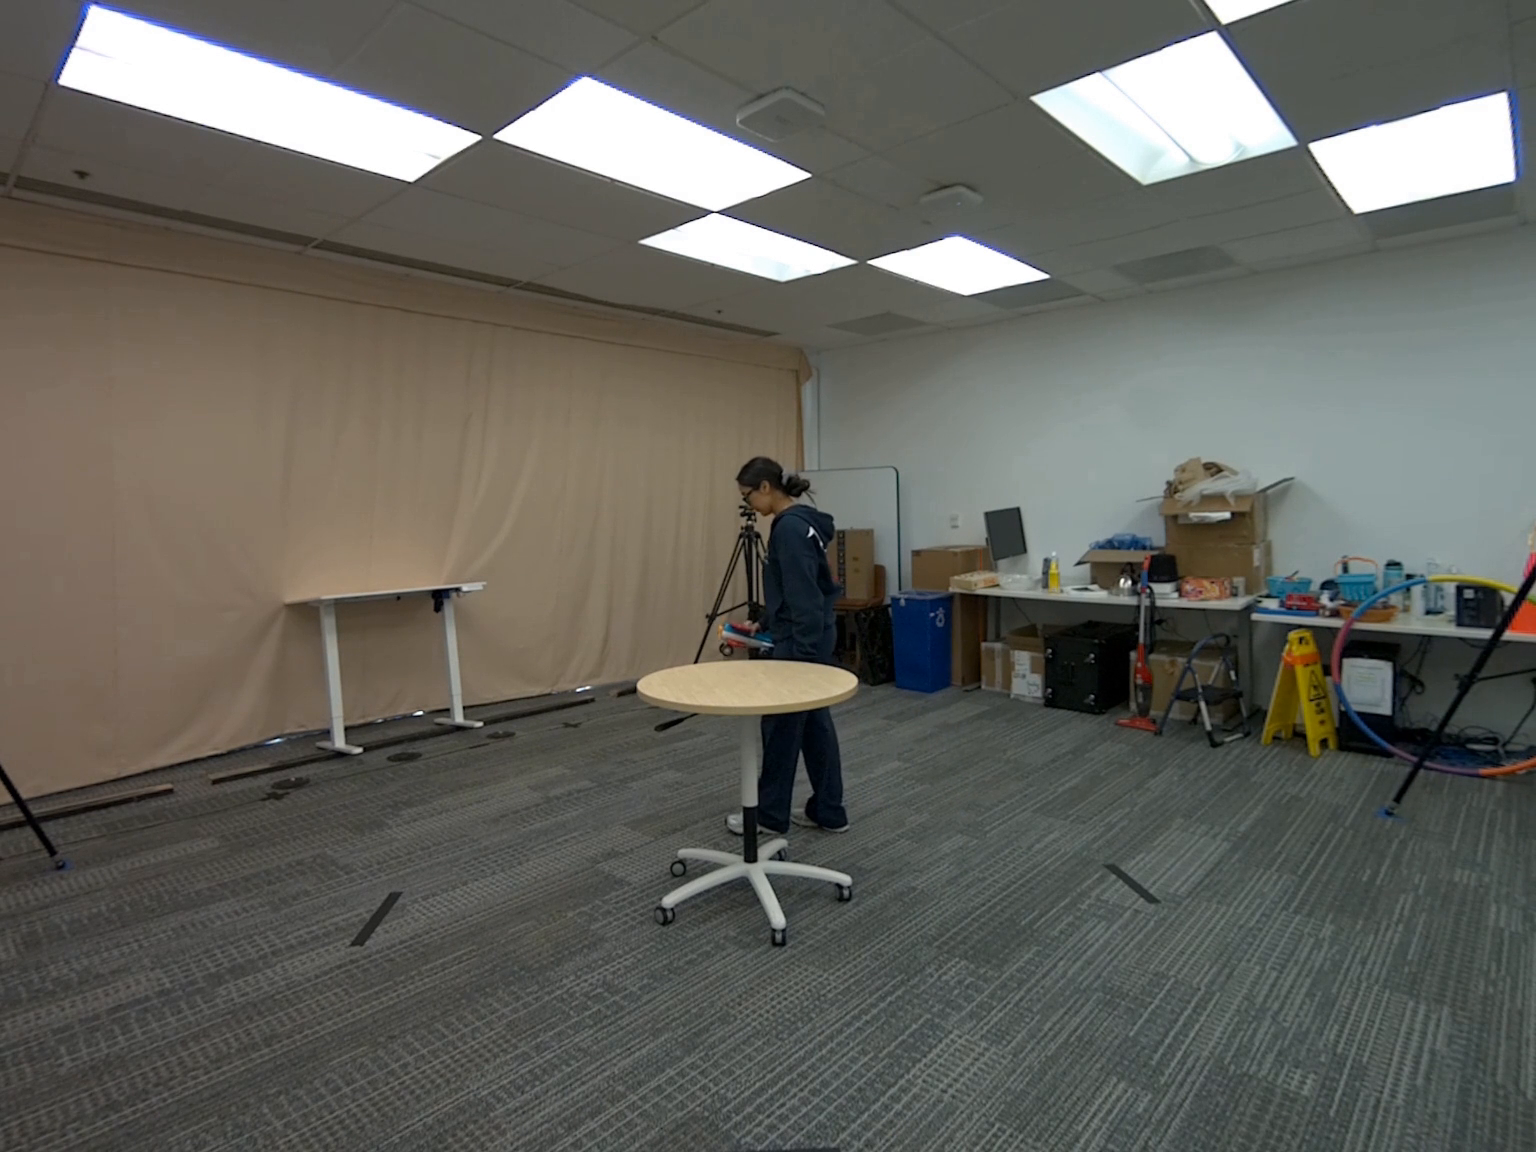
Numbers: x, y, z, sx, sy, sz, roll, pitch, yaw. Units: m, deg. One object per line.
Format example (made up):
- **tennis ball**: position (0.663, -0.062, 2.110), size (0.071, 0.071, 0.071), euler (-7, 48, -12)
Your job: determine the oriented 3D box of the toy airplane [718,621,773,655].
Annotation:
- **toy airplane**: position (-0.096, 0.289, 3.823), size (0.252, 0.156, 0.258), euler (5, -2, -30)
